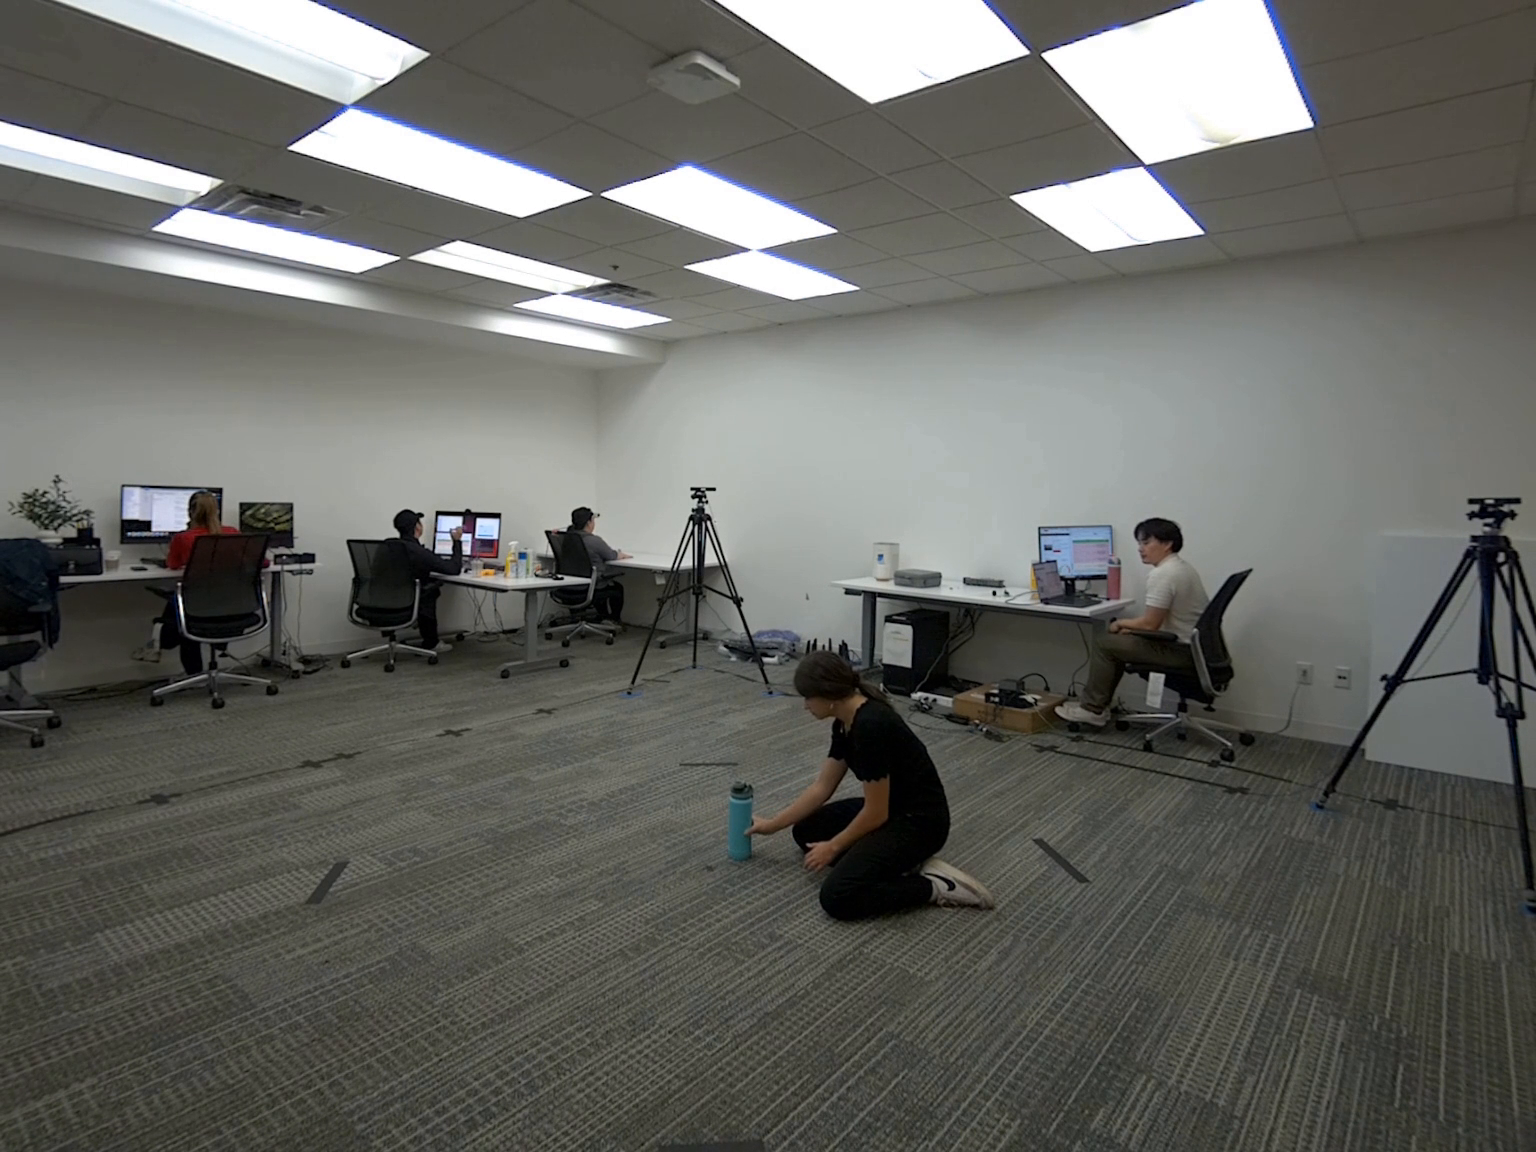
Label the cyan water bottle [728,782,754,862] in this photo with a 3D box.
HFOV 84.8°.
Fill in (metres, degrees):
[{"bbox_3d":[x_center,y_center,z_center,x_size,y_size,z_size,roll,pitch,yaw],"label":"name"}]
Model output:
[{"bbox_3d":[-0.109,0.922,3.227,0.092,0.283,0.092,4,2,-2],"label":"cyan water bottle"}]
